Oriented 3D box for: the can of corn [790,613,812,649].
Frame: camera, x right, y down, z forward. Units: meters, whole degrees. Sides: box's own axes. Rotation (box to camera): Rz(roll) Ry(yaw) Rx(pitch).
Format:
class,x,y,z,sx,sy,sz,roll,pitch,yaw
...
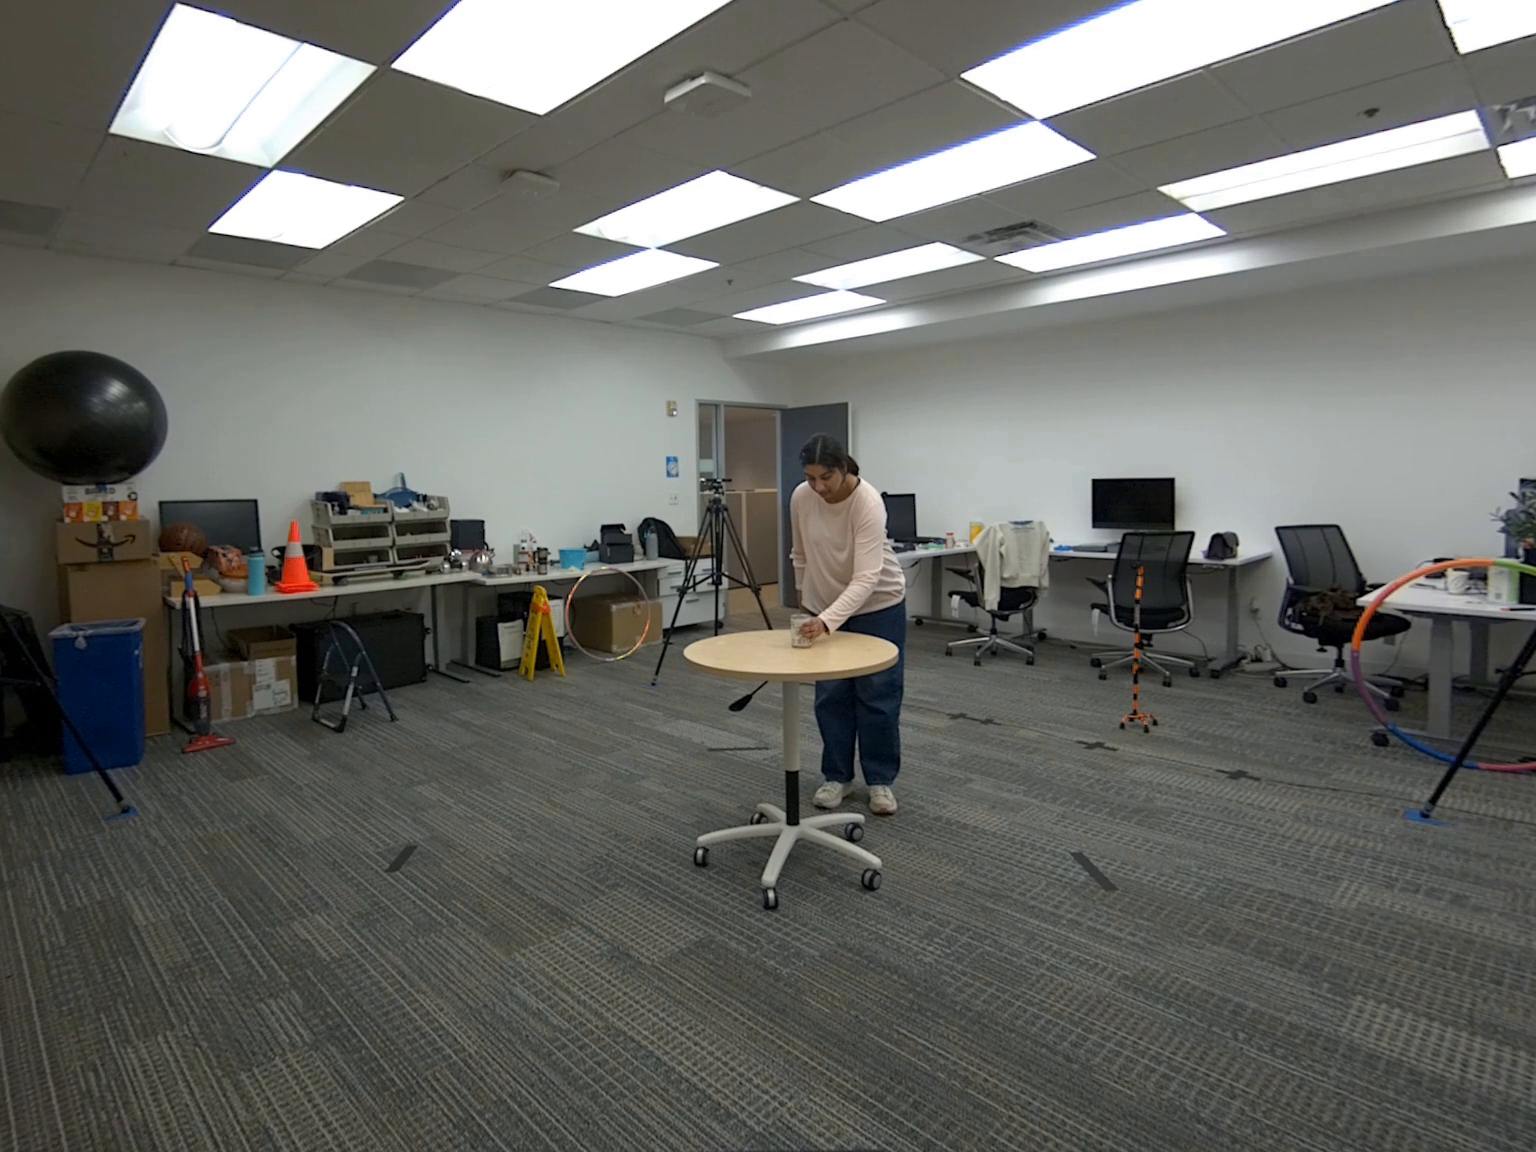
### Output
class,x,y,z,sx,sy,sz,roll,pitch,yaw
can of corn,0.124,0.199,3.099,0.074,0.110,0.074,-3,5,-1
